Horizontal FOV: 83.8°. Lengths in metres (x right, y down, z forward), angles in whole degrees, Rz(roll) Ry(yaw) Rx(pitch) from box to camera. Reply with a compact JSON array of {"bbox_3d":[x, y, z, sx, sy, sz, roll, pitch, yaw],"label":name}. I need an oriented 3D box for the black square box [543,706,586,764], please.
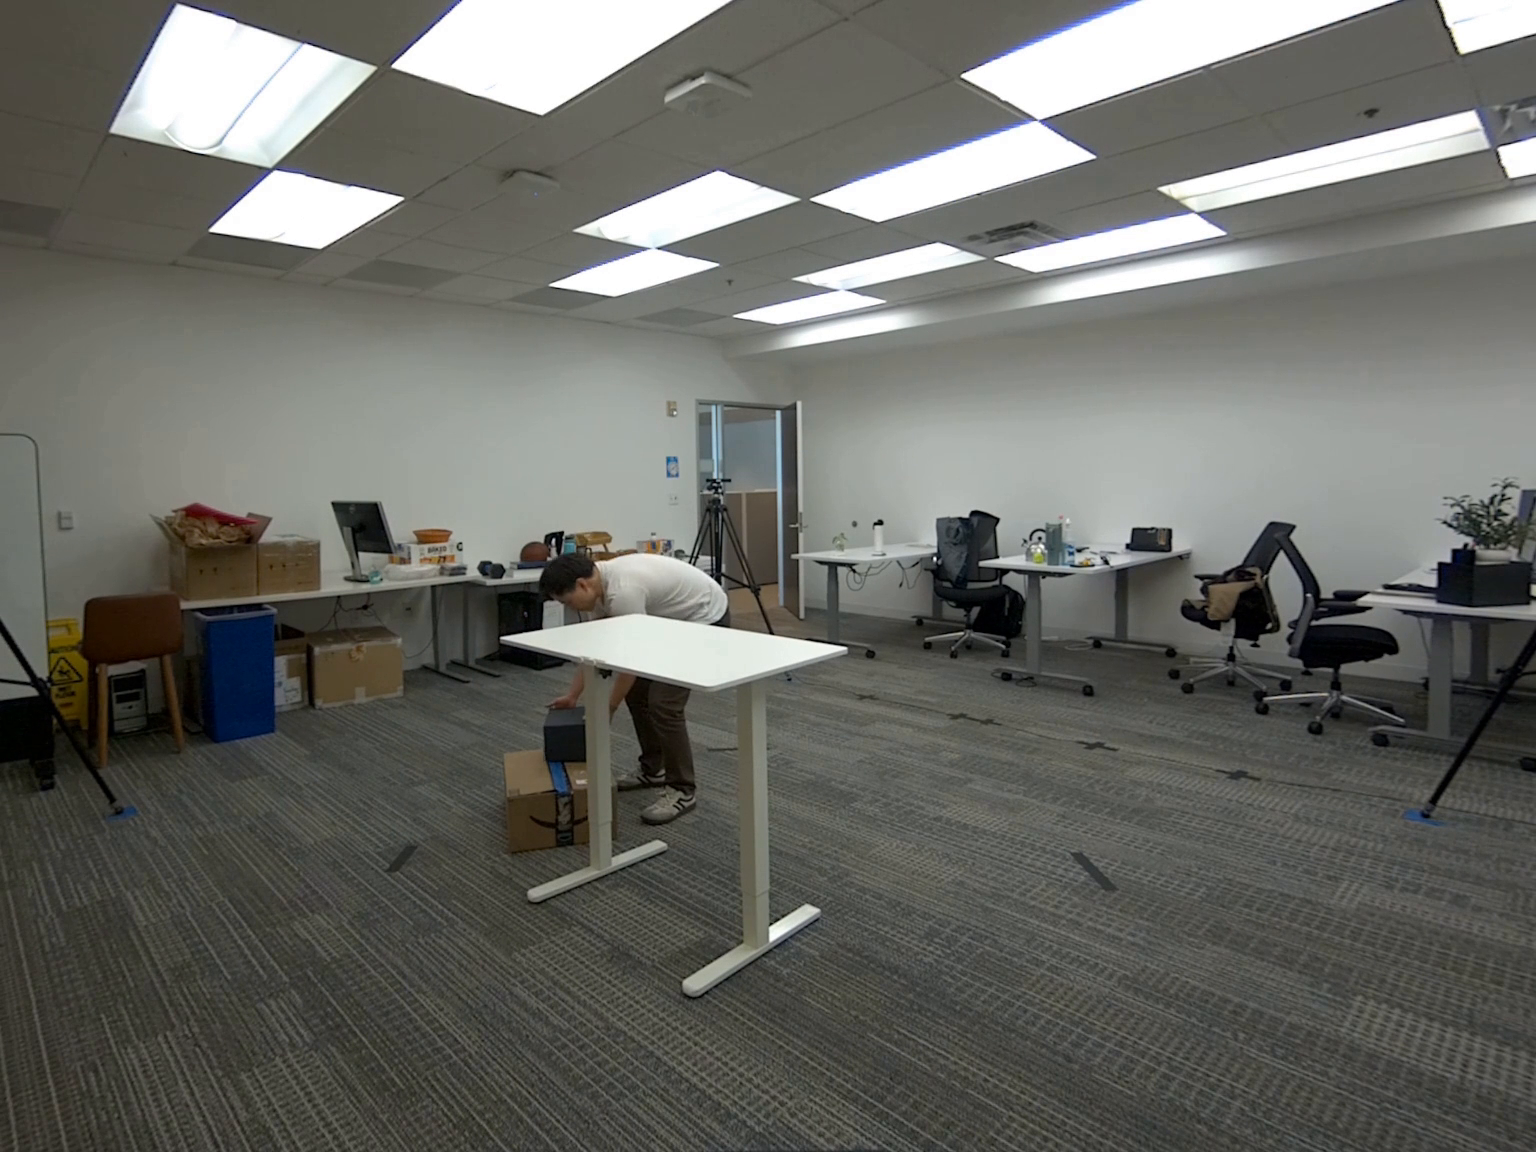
[{"bbox_3d":[-0.841,0.663,3.690,0.216,0.155,0.230,-3,9,-3],"label":"black square box"}]
